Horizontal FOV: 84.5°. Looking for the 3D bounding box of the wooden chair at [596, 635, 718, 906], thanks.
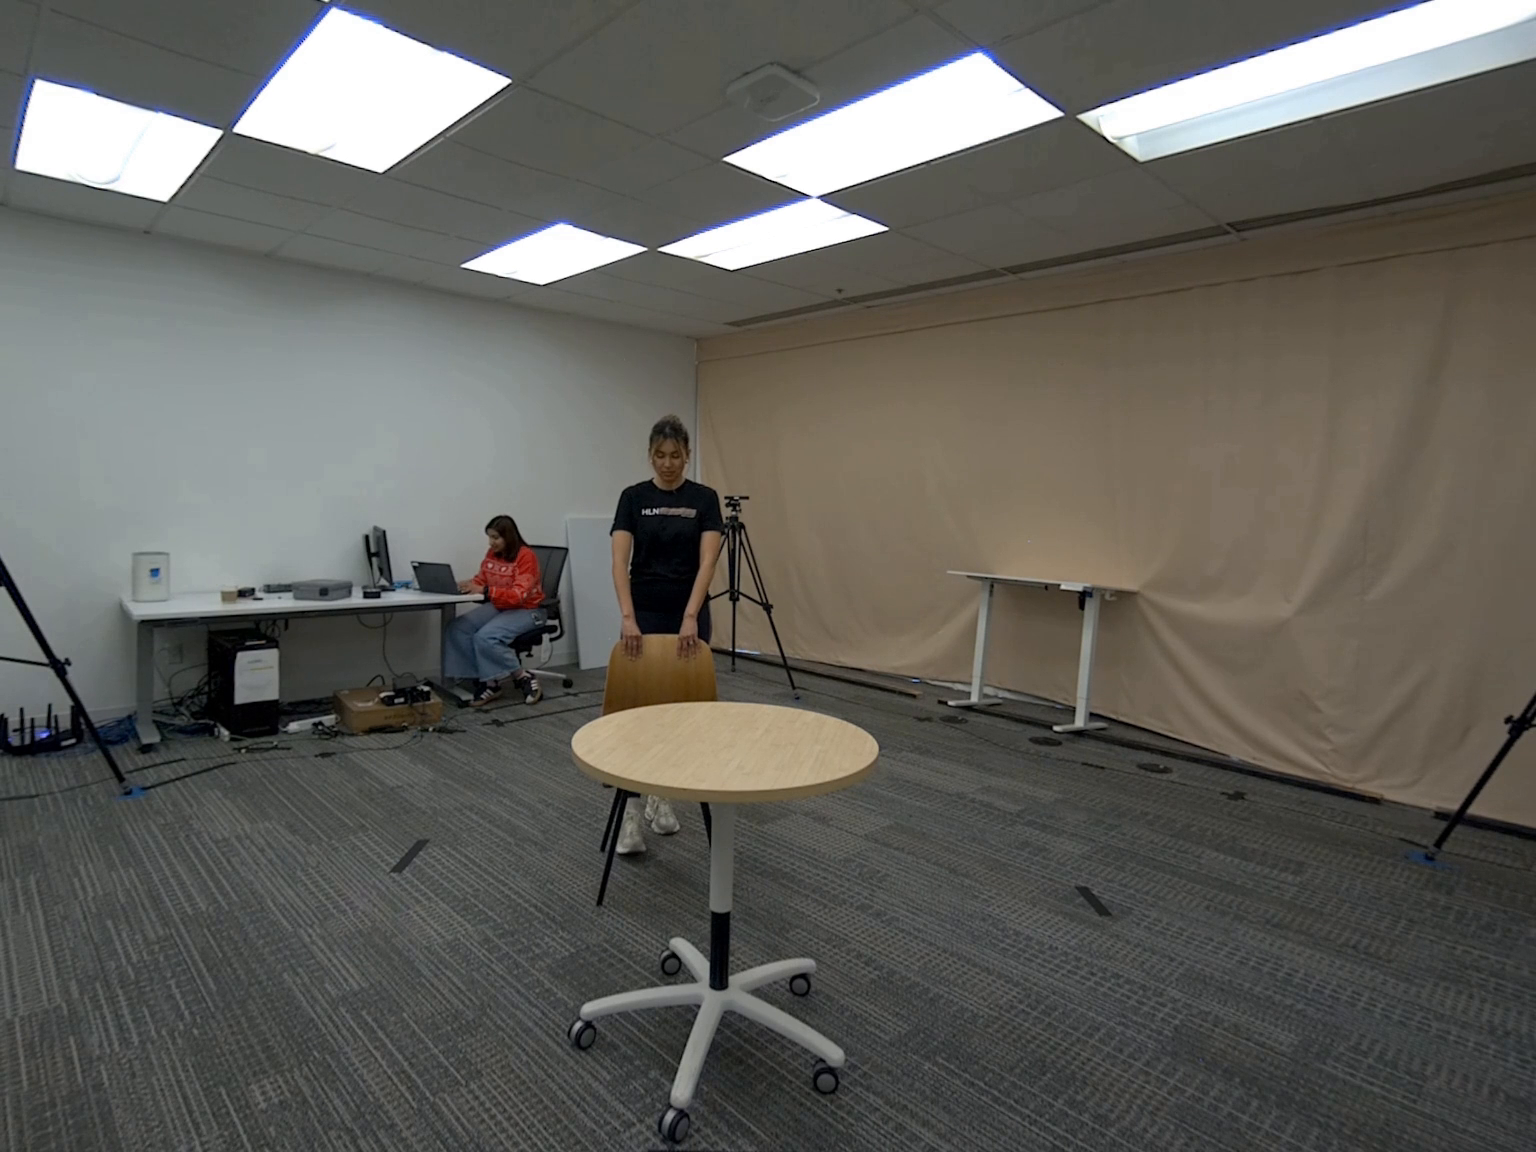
[{"bbox_3d":[-0.377,0.679,3.054,0.474,0.878,0.527,2,-1,-10],"label":"wooden chair"}]
